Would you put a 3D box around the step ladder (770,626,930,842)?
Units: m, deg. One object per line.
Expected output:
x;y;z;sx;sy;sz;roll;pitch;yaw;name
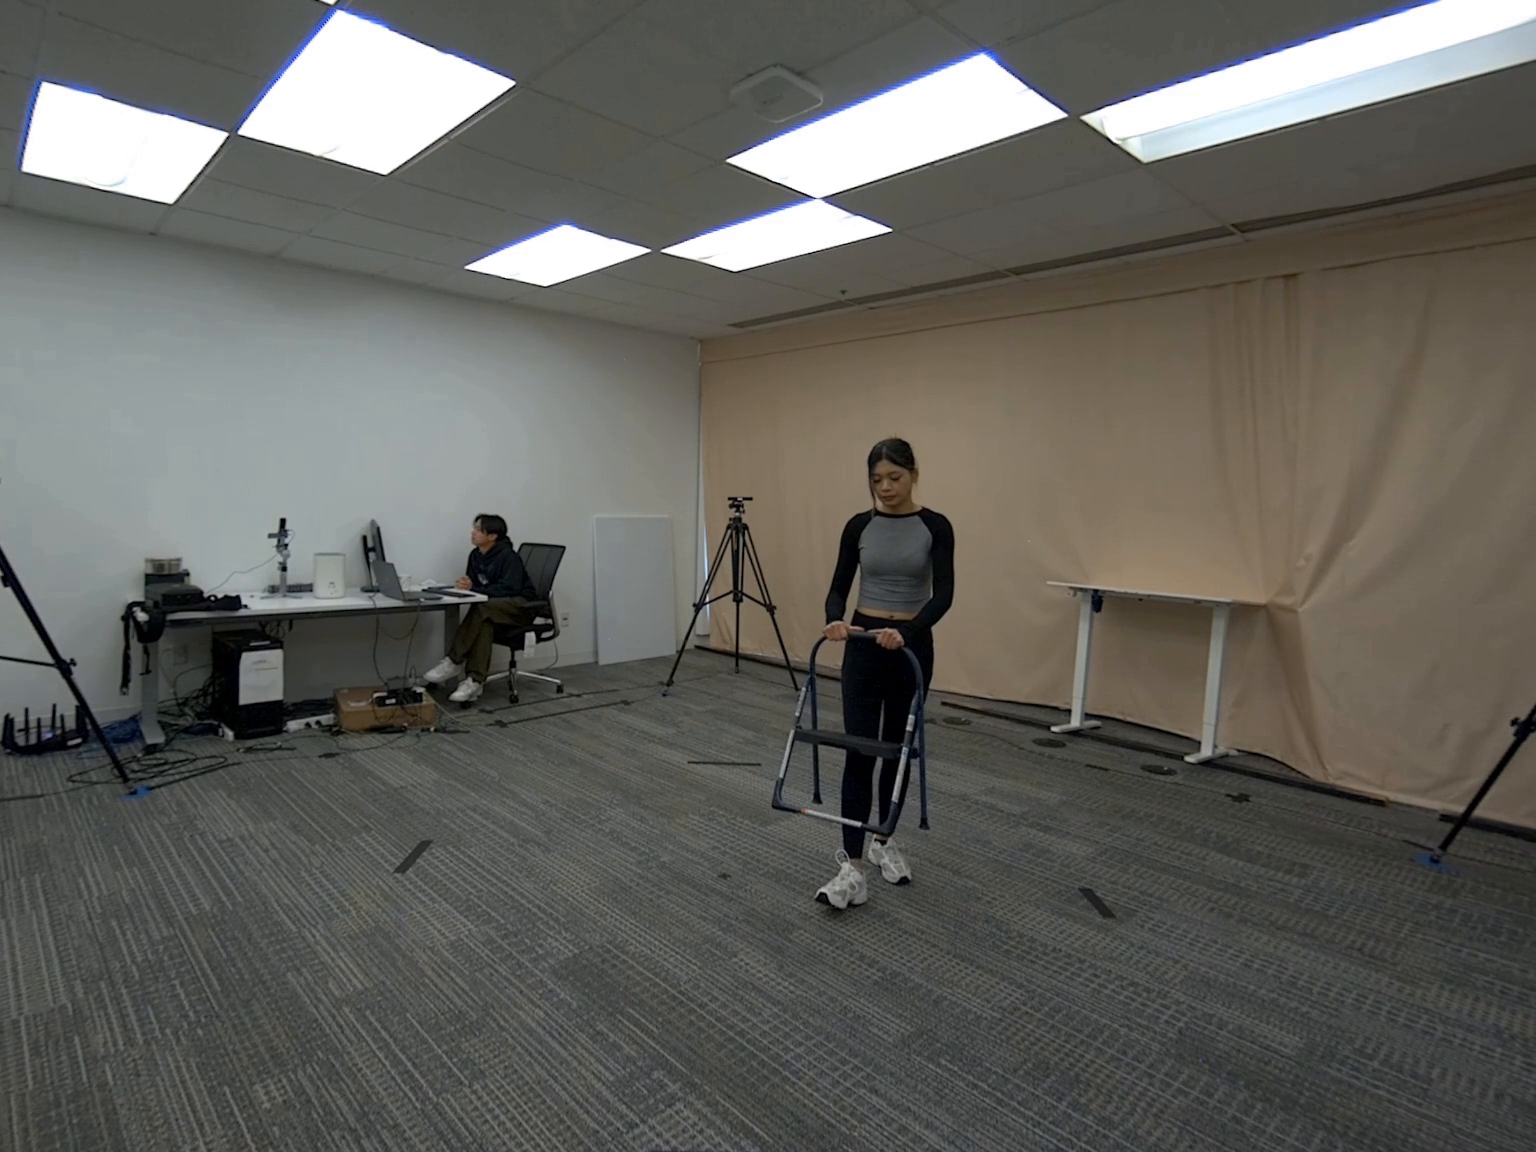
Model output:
0.299;0.497;2.793;0.440;0.609;0.340;3;-9;32;step ladder
